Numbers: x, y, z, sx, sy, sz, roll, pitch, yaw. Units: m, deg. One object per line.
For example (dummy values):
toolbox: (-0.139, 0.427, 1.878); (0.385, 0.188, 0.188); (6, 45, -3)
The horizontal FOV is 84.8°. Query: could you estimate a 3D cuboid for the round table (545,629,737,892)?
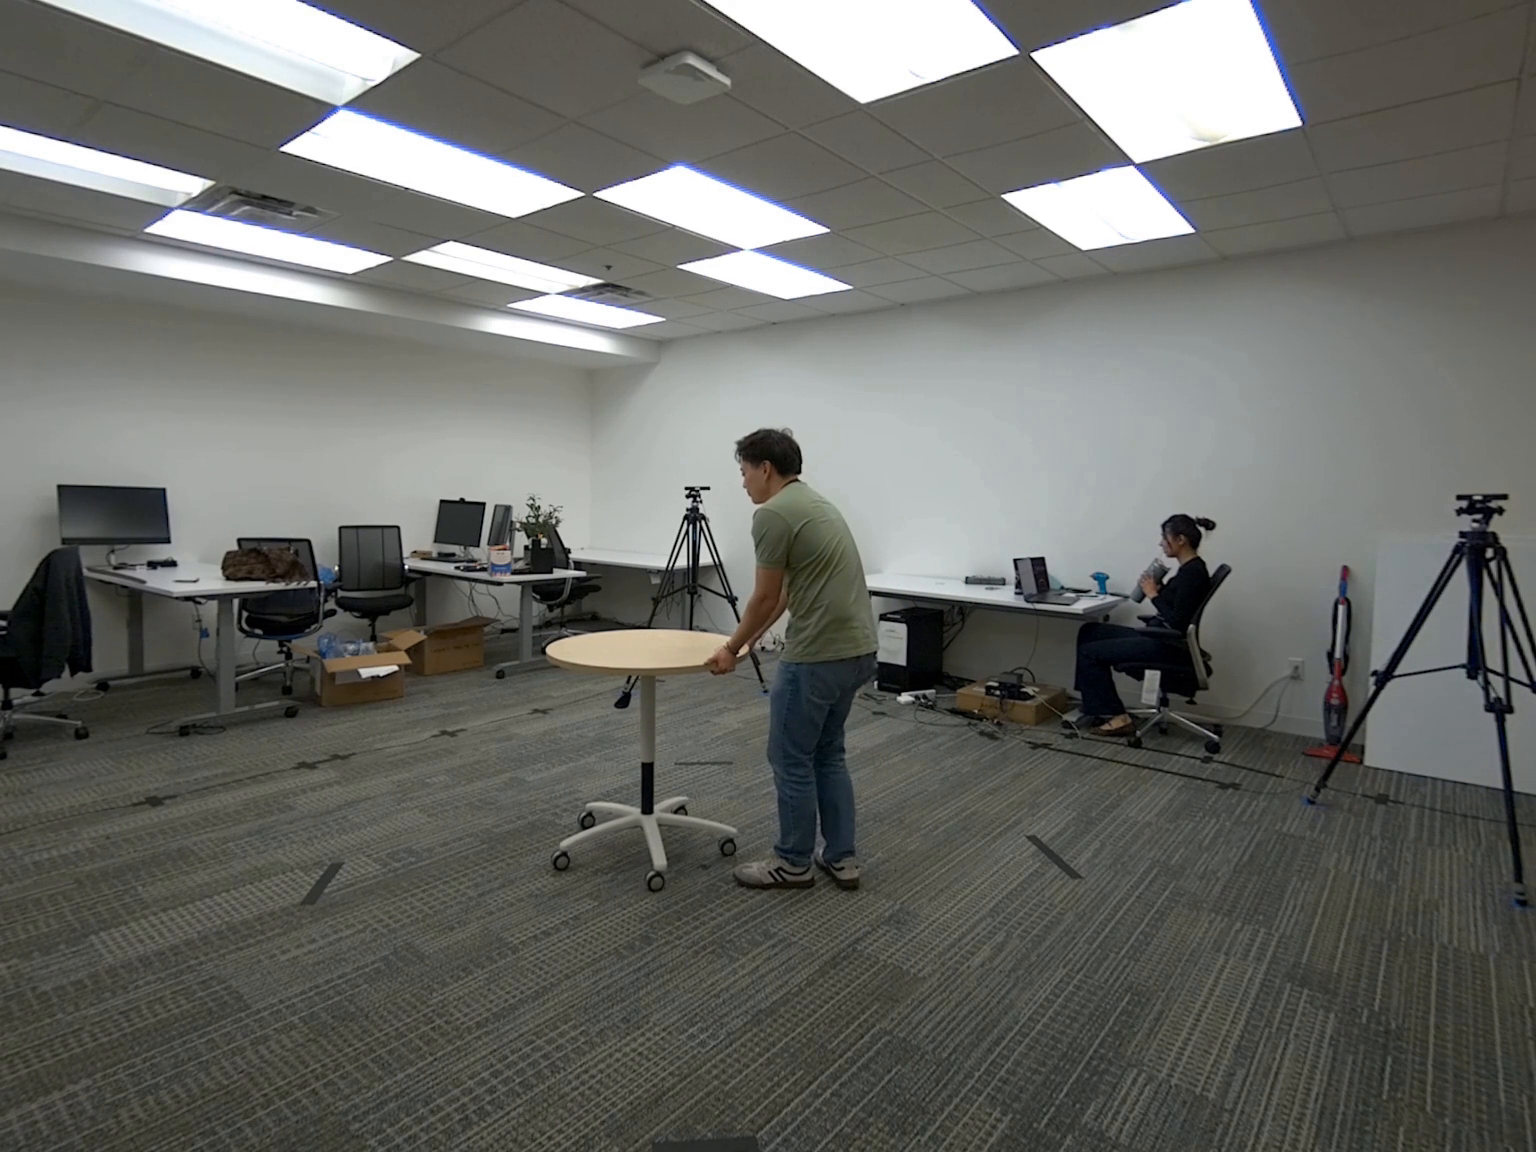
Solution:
round table: (-0.474, 0.659, 3.252); (0.763, 0.791, 0.768); (1, 4, -2)
